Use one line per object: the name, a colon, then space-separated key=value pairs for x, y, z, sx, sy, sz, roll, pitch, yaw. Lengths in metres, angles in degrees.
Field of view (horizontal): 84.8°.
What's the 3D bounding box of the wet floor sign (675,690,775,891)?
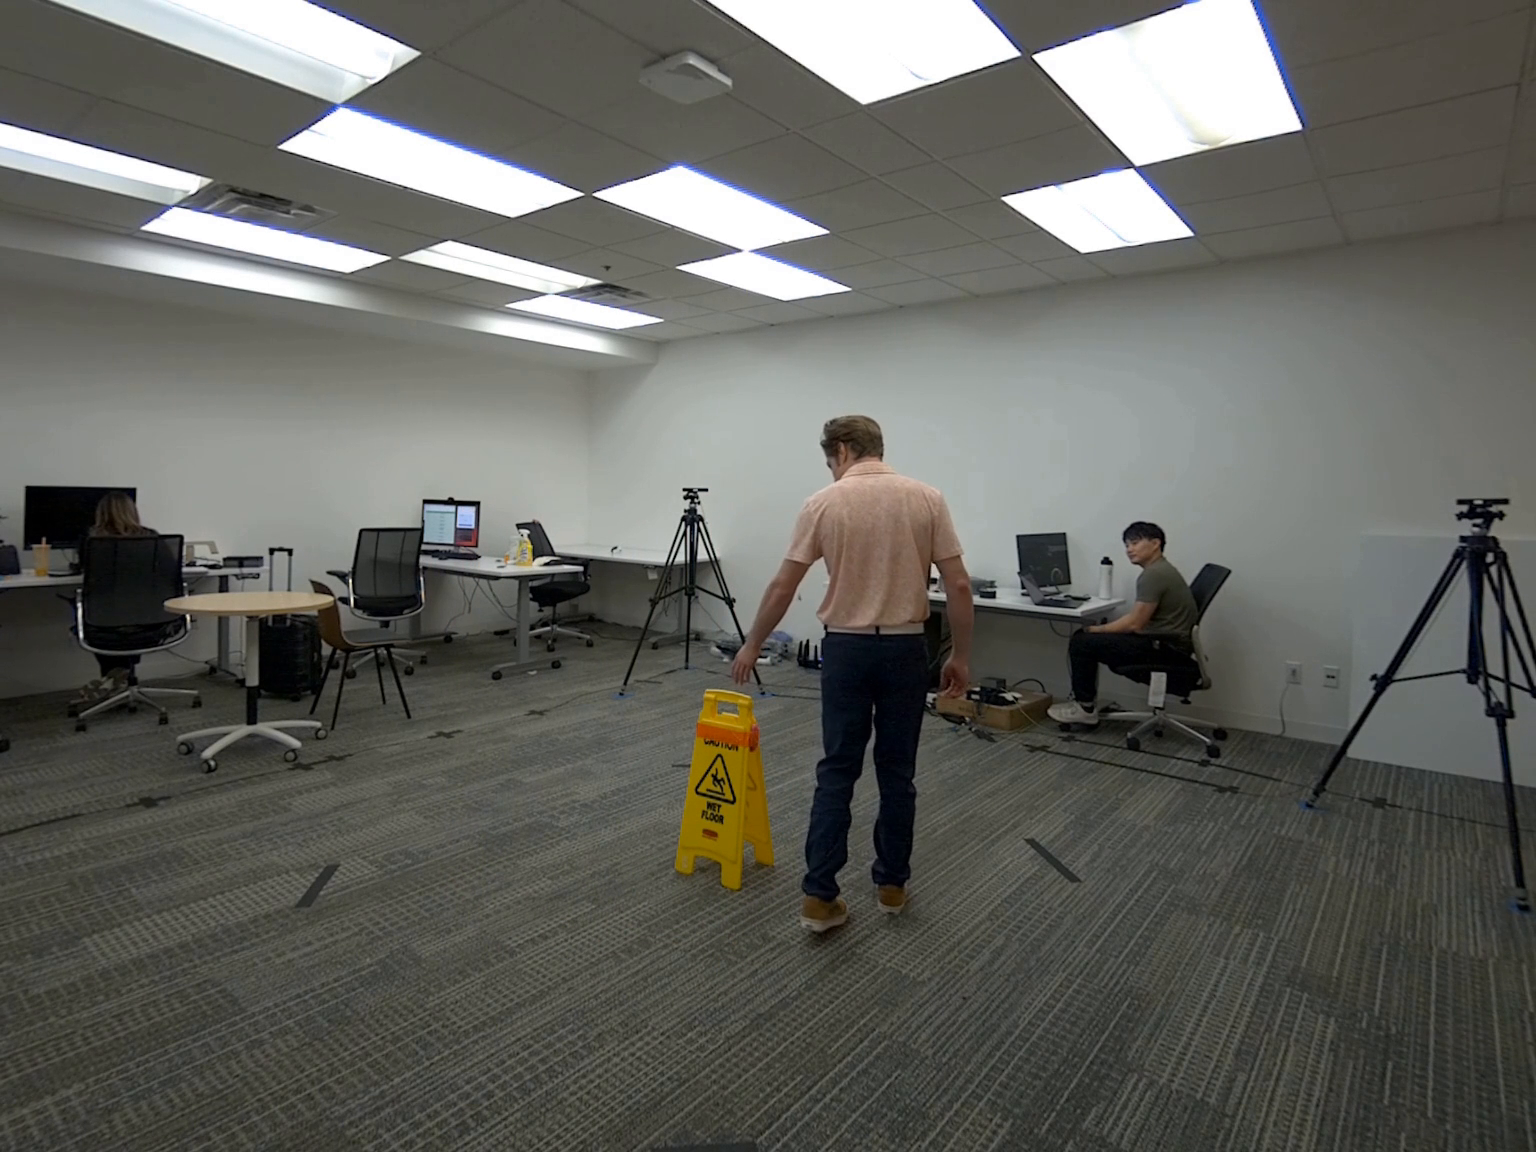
wet floor sign: x=-0.164 y=0.745 z=3.105 sx=0.291 sy=0.644 sz=0.282 roll=2 pitch=4 yaw=32
